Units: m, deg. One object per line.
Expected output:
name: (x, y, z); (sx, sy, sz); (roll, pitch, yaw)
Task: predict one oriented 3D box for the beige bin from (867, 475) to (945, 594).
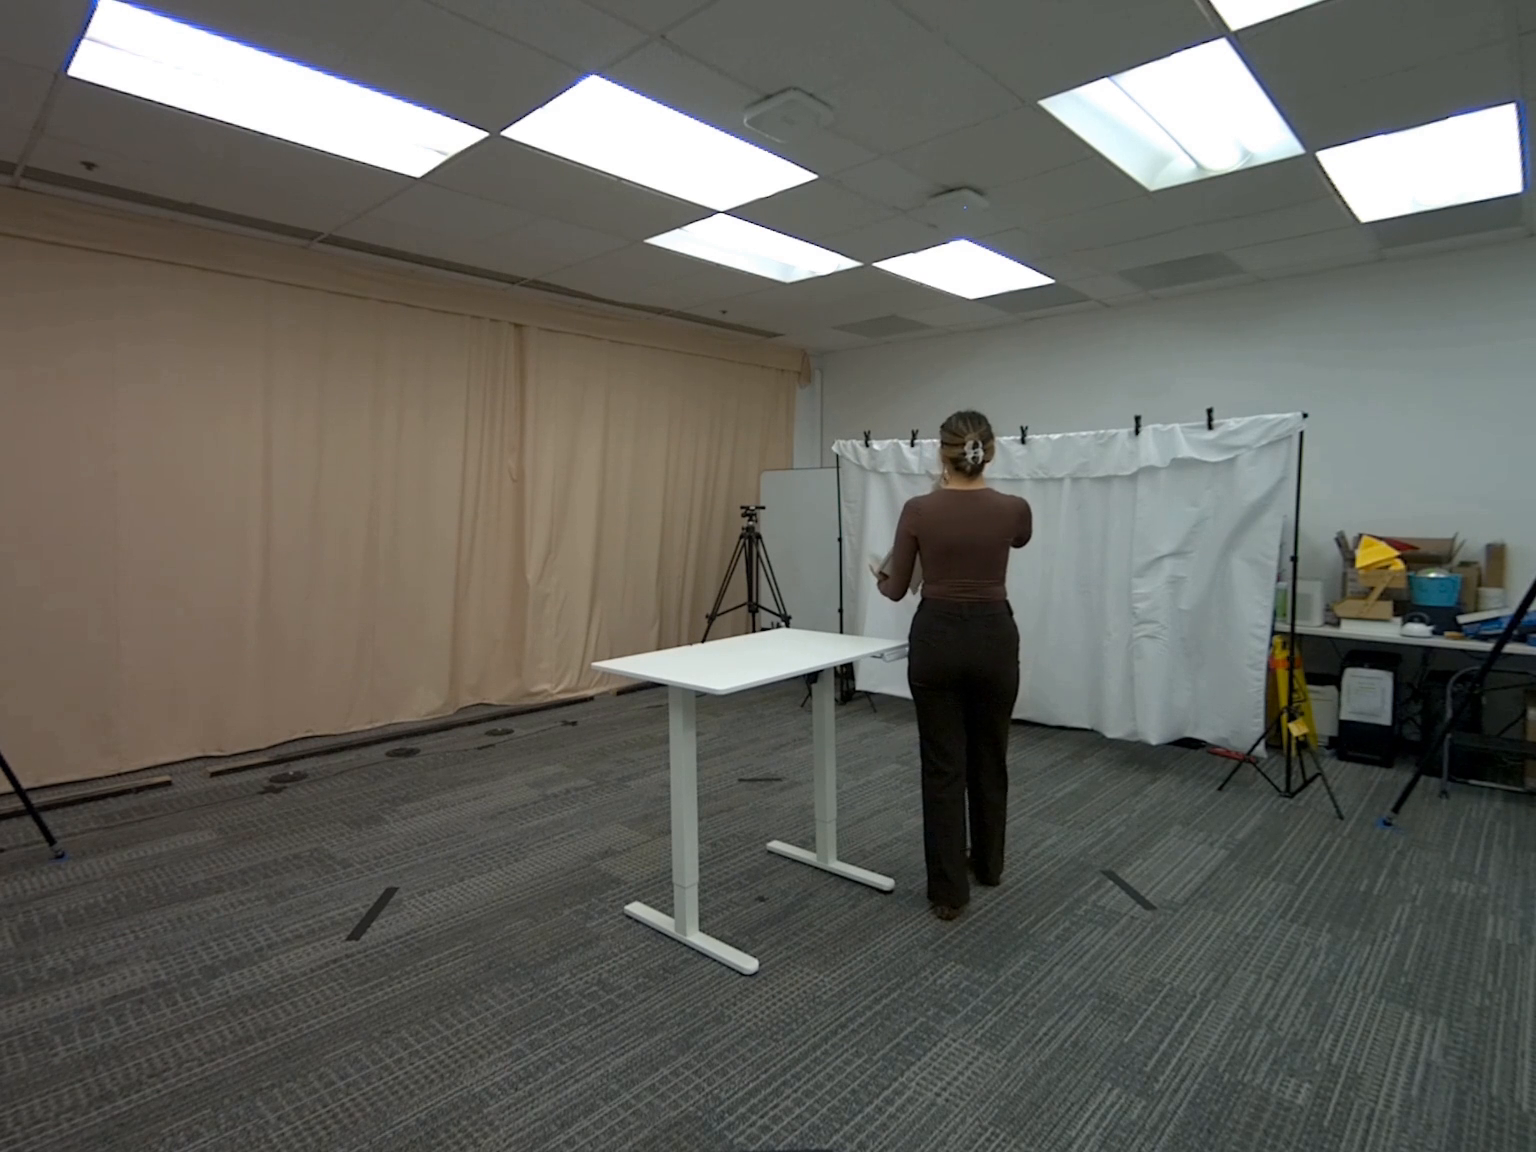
beige bin: (0.602, -0.182, 3.310); (0.188, 0.422, 0.379); (32, 13, -5)
